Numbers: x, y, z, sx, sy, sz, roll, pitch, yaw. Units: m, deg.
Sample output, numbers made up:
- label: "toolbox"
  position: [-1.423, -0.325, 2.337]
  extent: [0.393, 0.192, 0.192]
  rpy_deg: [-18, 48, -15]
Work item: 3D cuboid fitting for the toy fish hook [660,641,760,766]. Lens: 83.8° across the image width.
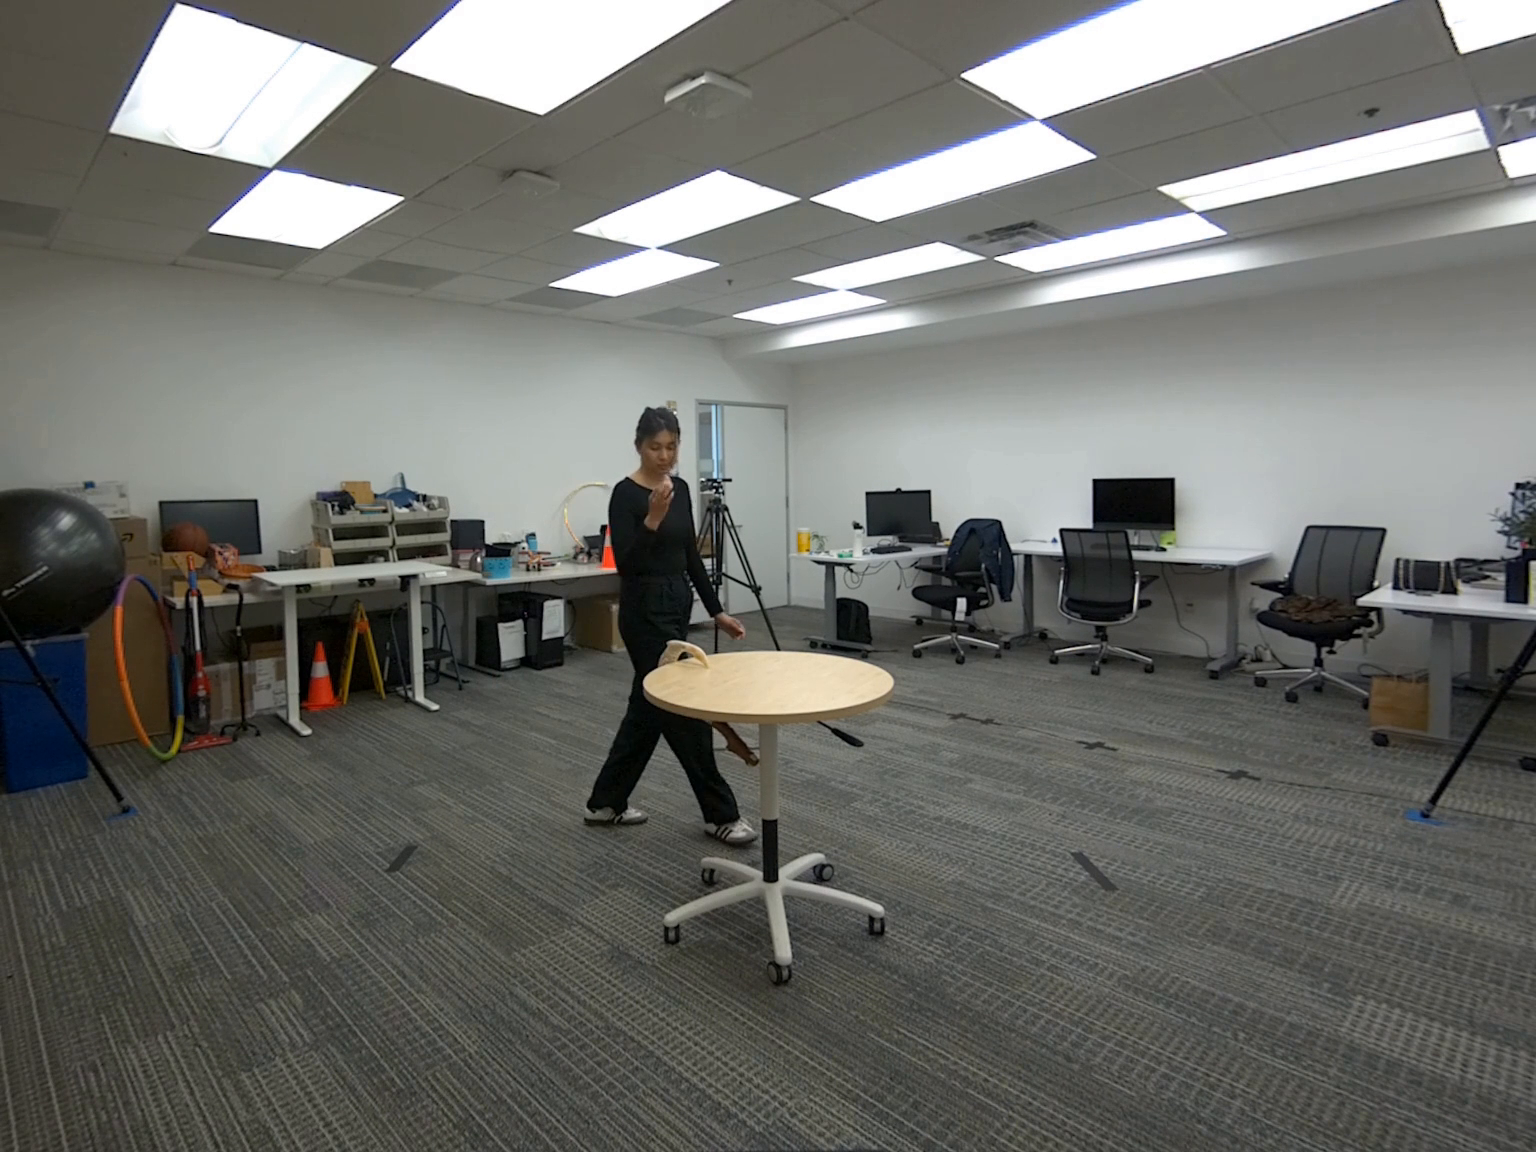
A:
- label: "toy fish hook"
  position: [-0.188, 0.402, 2.772]
  extent: [0.525, 0.222, 0.047]
  rpy_deg: [38, 27, 31]
